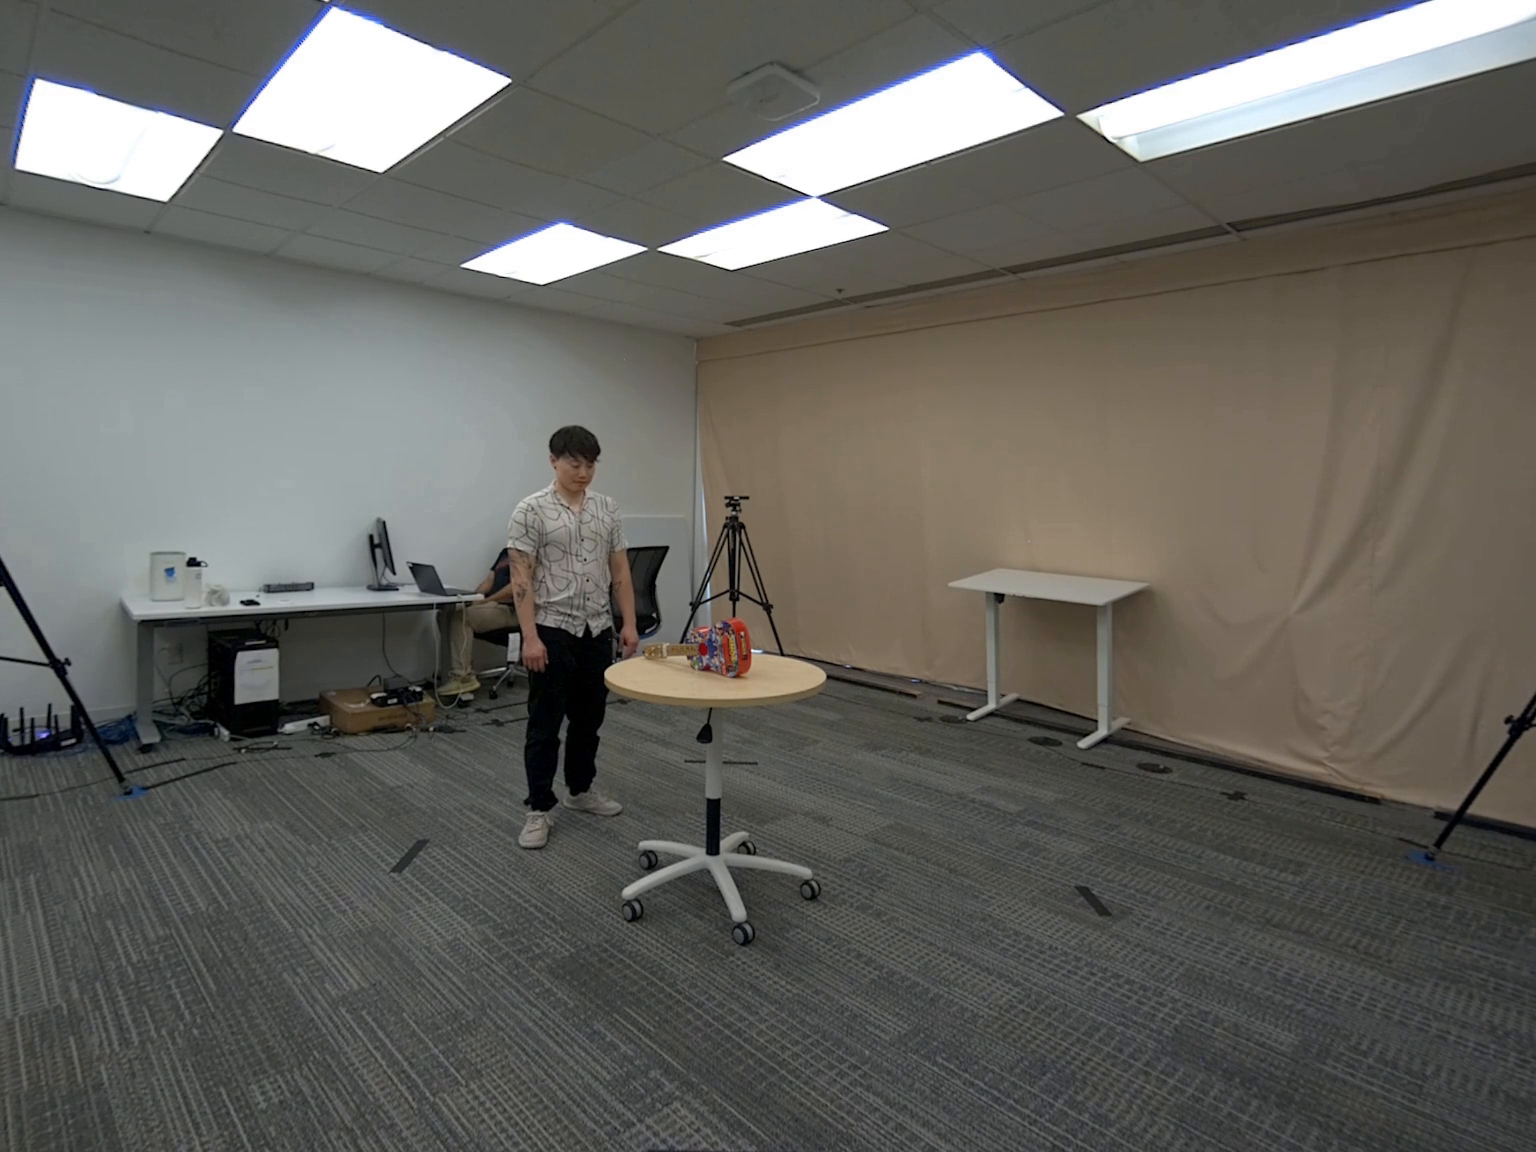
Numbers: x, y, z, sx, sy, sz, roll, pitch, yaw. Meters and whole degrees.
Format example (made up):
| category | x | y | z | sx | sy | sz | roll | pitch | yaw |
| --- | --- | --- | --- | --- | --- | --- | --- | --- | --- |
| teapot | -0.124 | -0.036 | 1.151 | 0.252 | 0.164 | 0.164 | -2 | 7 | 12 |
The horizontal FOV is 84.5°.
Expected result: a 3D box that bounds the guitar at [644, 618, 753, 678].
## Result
| category | x | y | z | sx | sy | sz | roll | pitch | yaw |
| --- | --- | --- | --- | --- | --- | --- | --- | --- | --- |
| guitar | -0.270 | 0.235 | 2.979 | 0.510 | 0.192 | 0.069 | 5 | 6 | 43 |
